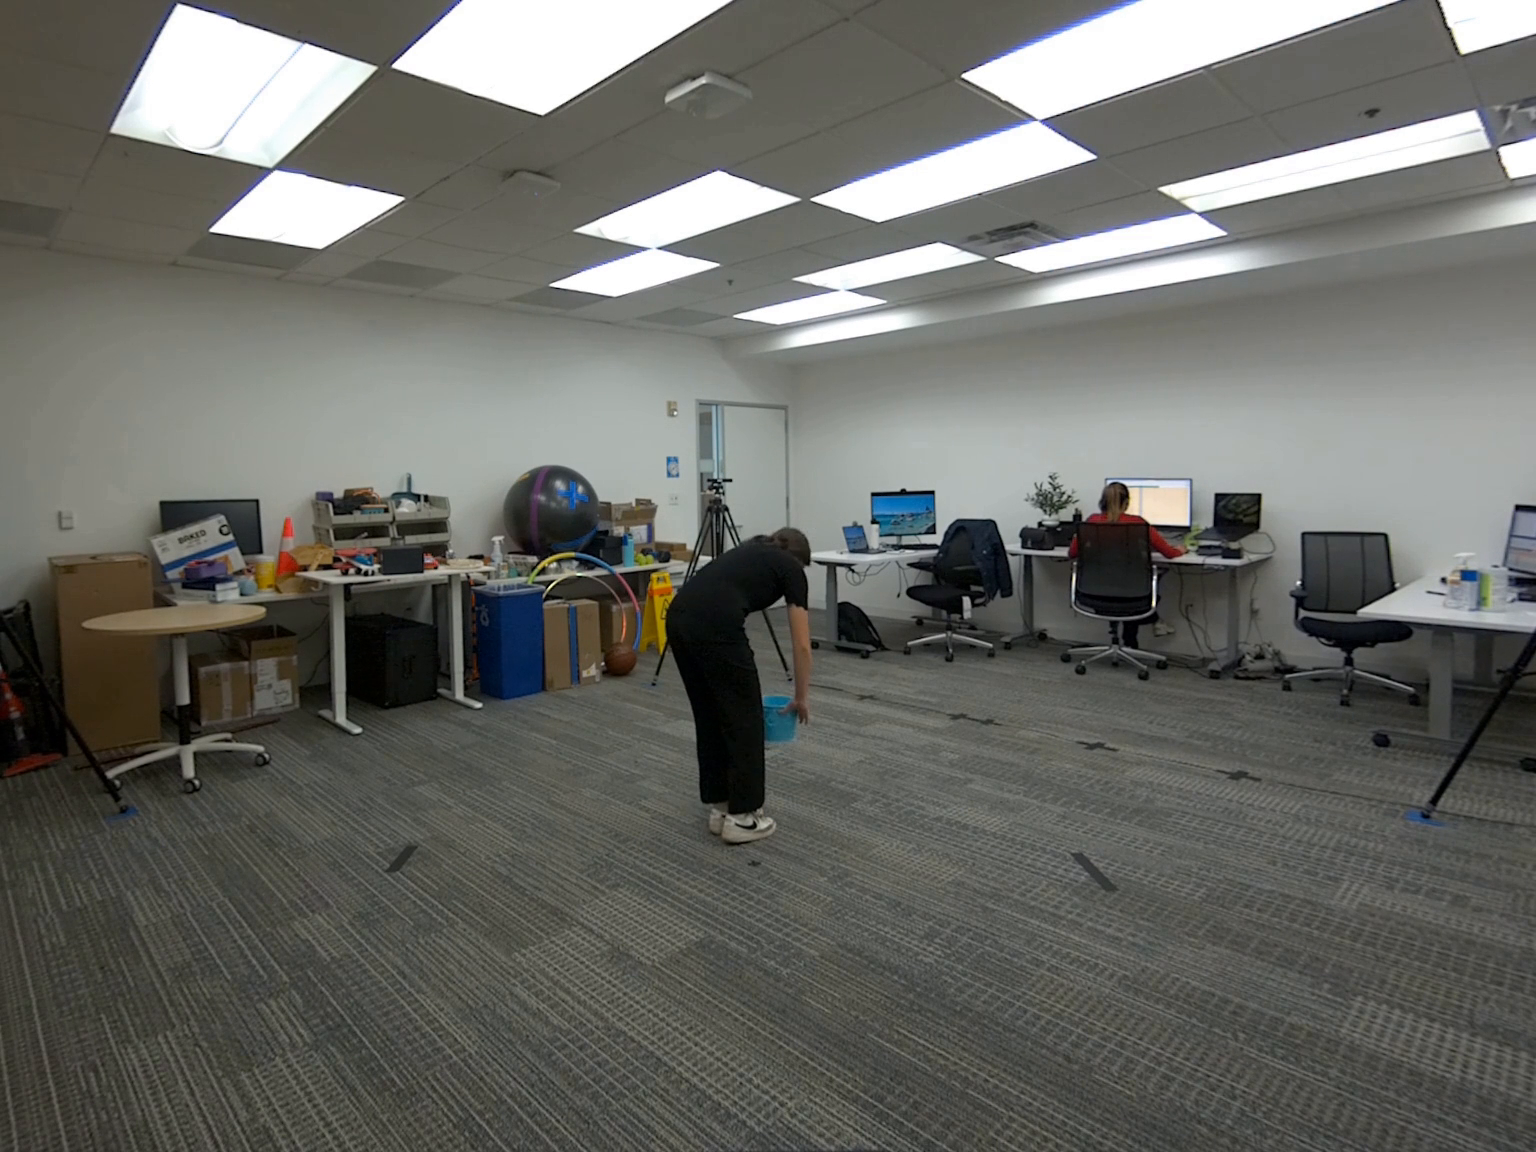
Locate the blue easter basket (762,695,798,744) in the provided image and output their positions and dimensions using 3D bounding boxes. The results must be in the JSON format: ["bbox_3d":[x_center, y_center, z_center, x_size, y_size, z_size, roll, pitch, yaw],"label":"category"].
[{"bbox_3d":[0.024,0.600,3.607,0.243,0.155,0.244,0,4,-2],"label":"blue easter basket"}]
